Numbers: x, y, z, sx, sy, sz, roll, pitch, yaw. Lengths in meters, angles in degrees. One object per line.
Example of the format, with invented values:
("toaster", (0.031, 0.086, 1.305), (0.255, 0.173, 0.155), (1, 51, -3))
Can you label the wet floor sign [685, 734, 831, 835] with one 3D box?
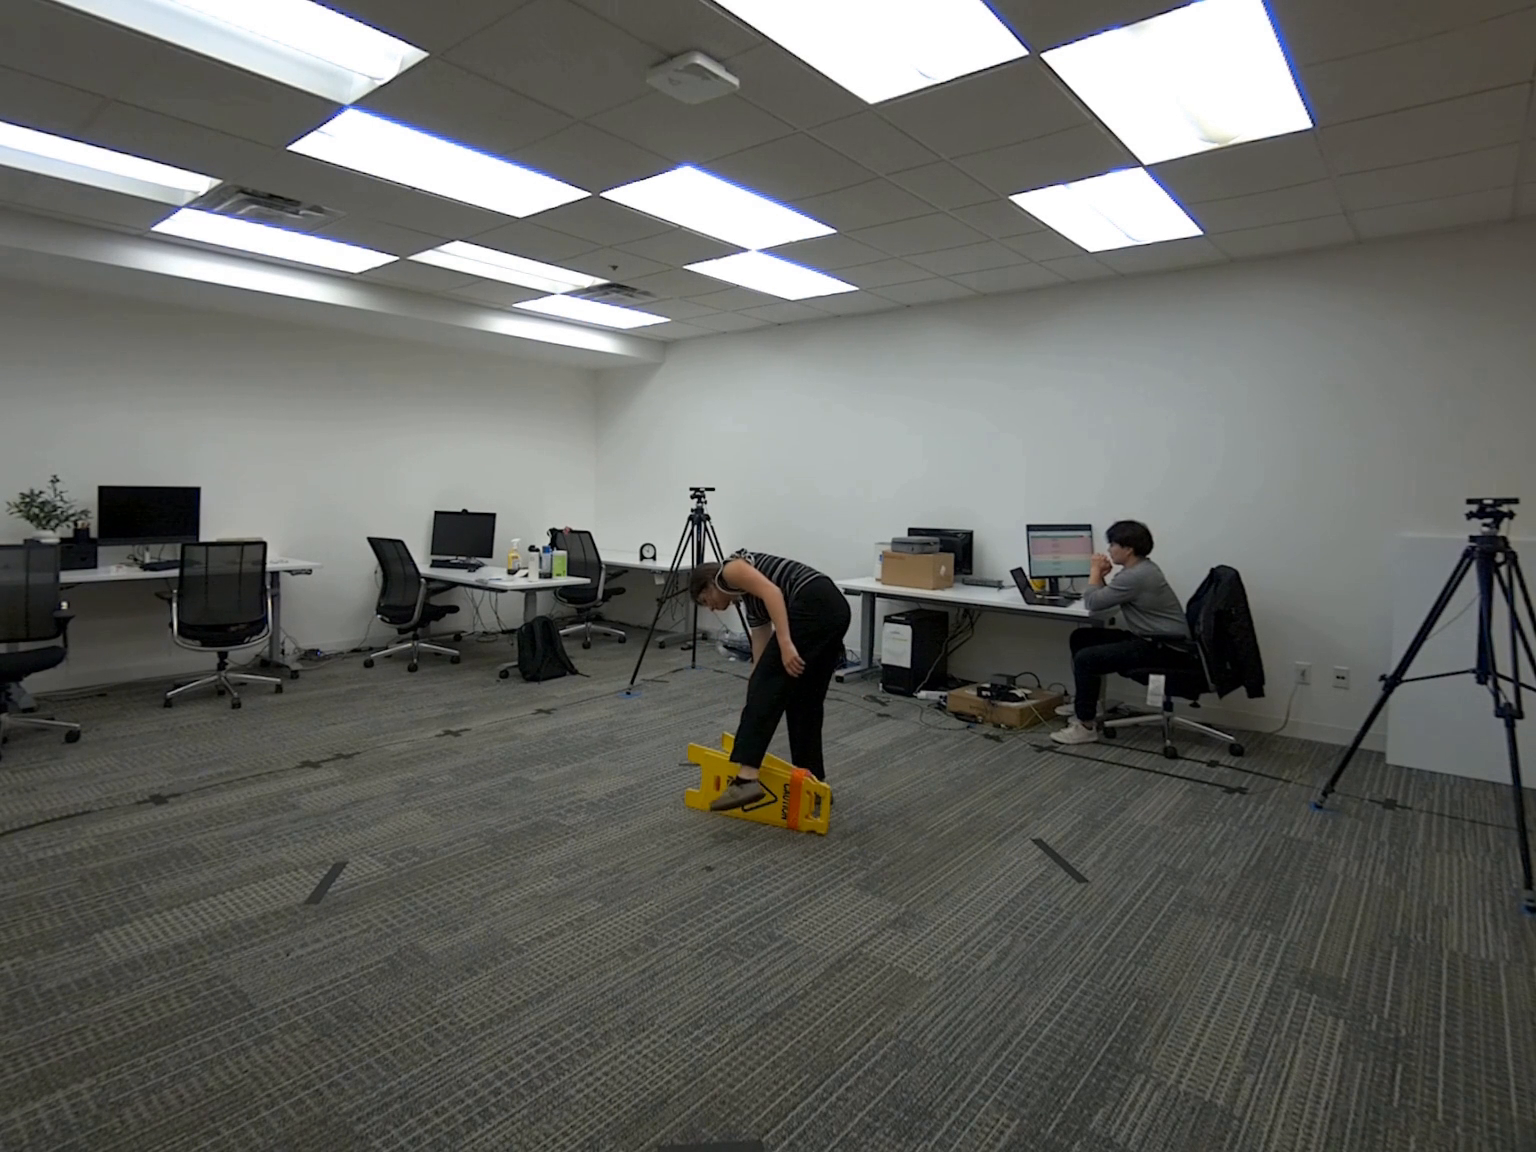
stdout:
("wet floor sign", (-0.028, 0.895, 3.622), (0.668, 0.281, 0.281), (9, 7, 37))
